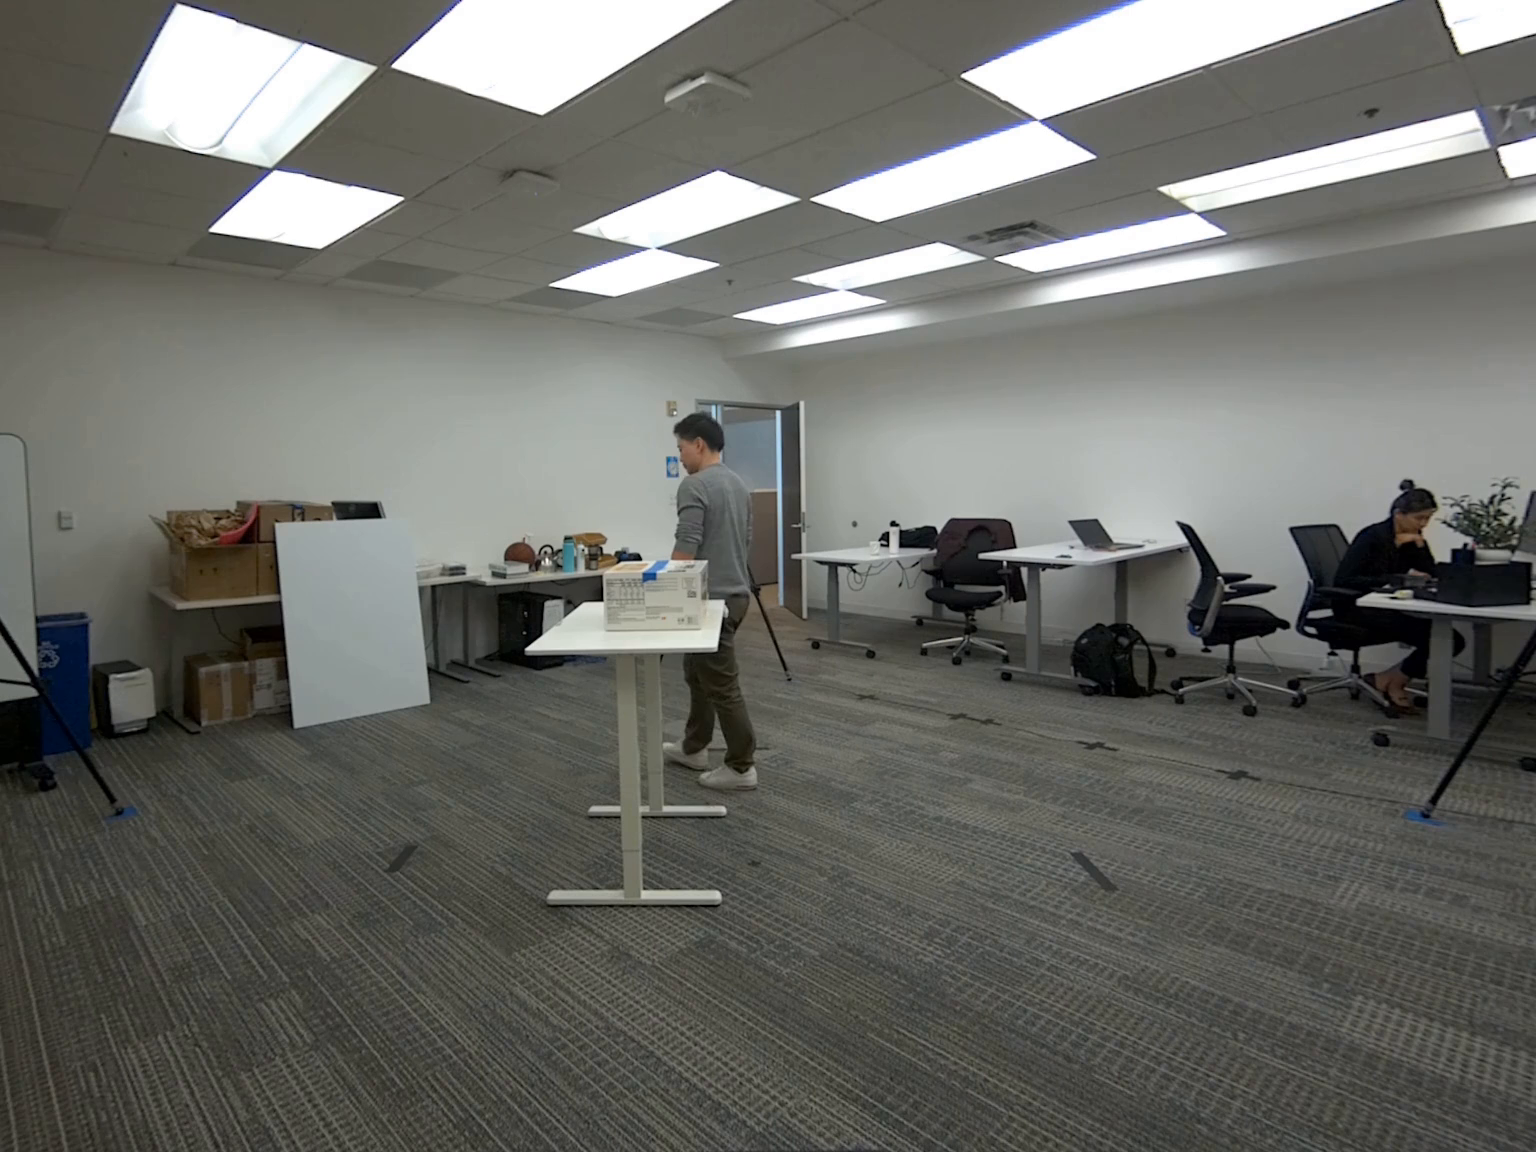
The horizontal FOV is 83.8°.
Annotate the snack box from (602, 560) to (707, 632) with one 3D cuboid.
[{"bbox_3d":[-0.407,0.067,3.143,0.341,0.205,0.406,-2,6,1],"label":"snack box"}]
